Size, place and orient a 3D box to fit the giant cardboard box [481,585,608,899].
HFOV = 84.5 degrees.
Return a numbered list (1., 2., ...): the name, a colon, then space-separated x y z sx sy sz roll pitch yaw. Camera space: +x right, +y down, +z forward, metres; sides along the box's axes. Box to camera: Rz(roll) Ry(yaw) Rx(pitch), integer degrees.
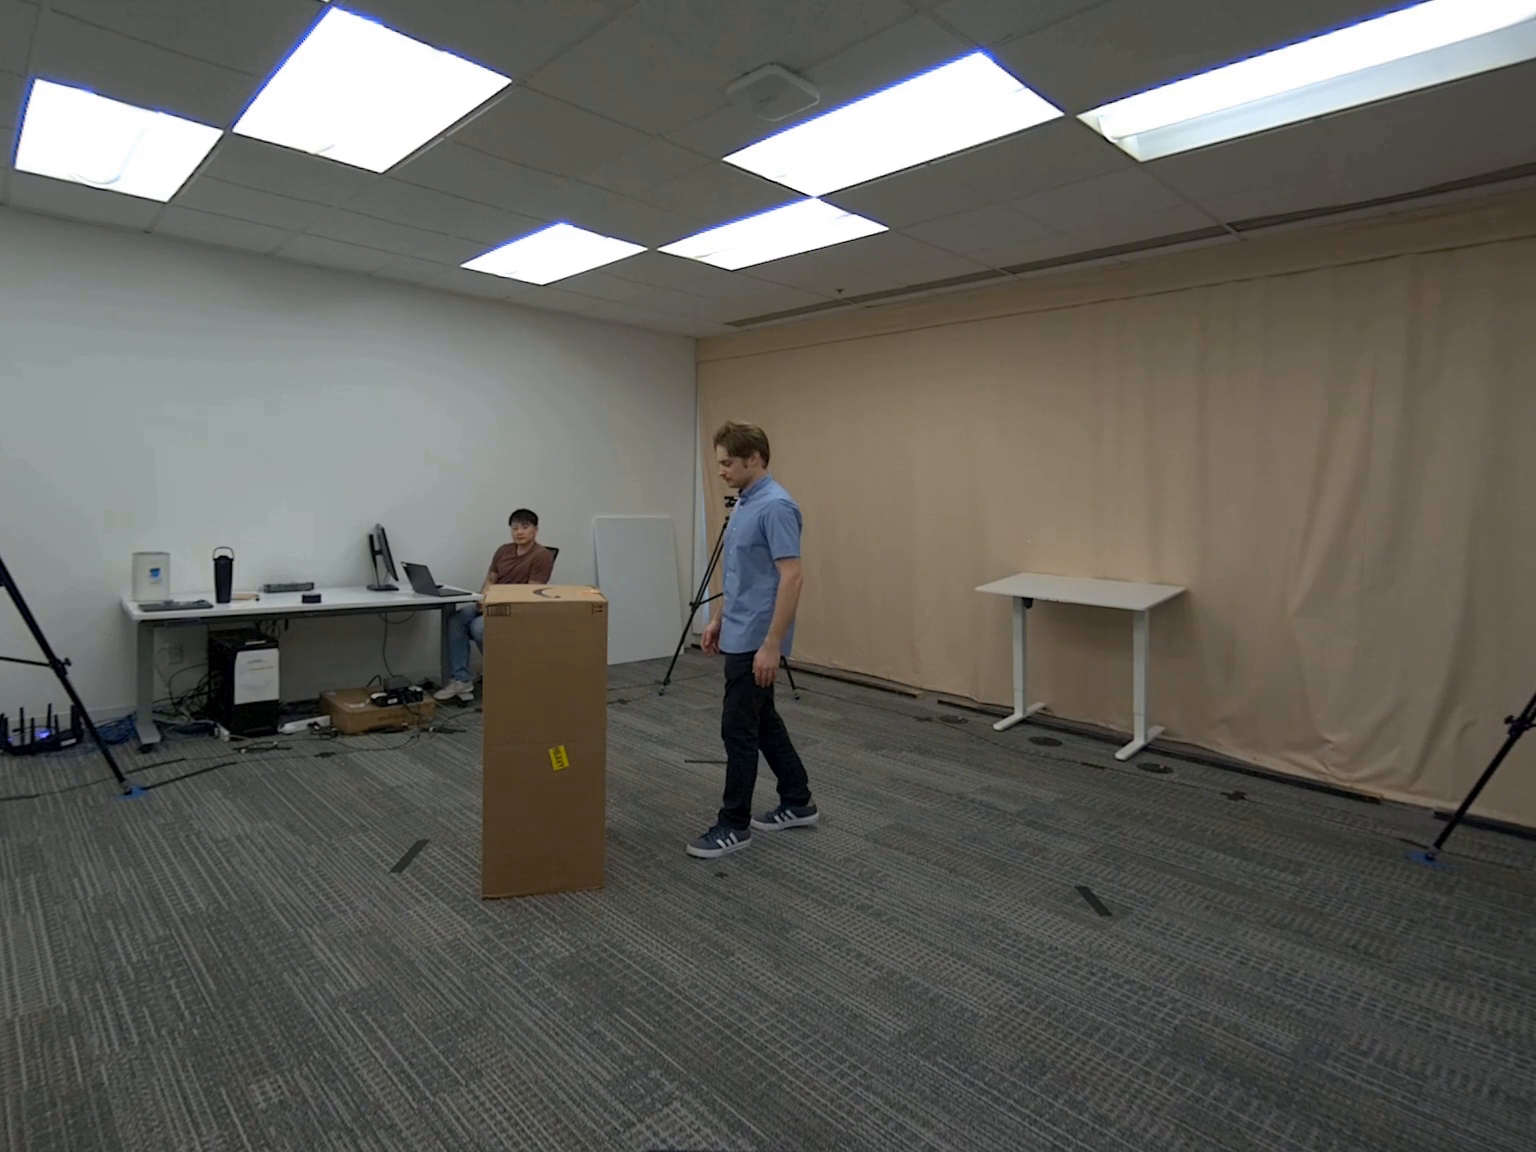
1. giant cardboard box: -0.857 0.576 3.171 0.441 1.025 0.593 0 3 -17
